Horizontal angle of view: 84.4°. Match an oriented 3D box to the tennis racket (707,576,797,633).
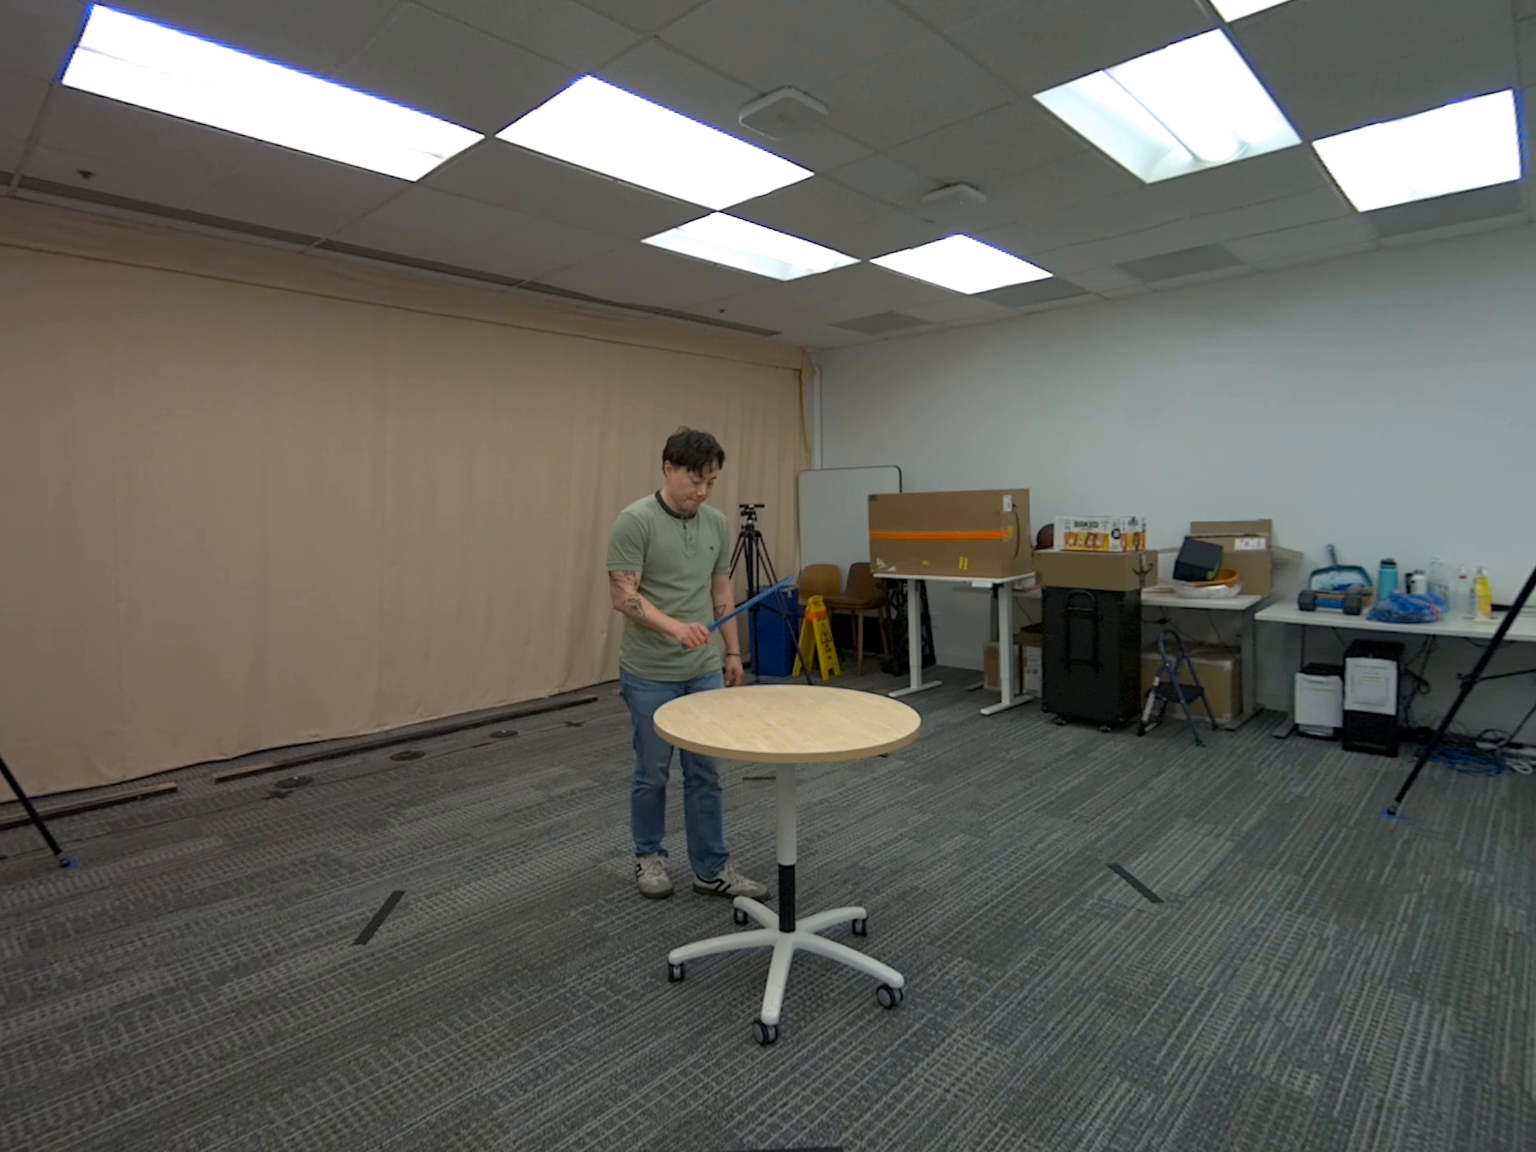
[{"bbox_3d":[-0.102,0.112,2.748,0.433,0.032,0.213,-33,2,2],"label":"tennis racket"}]
